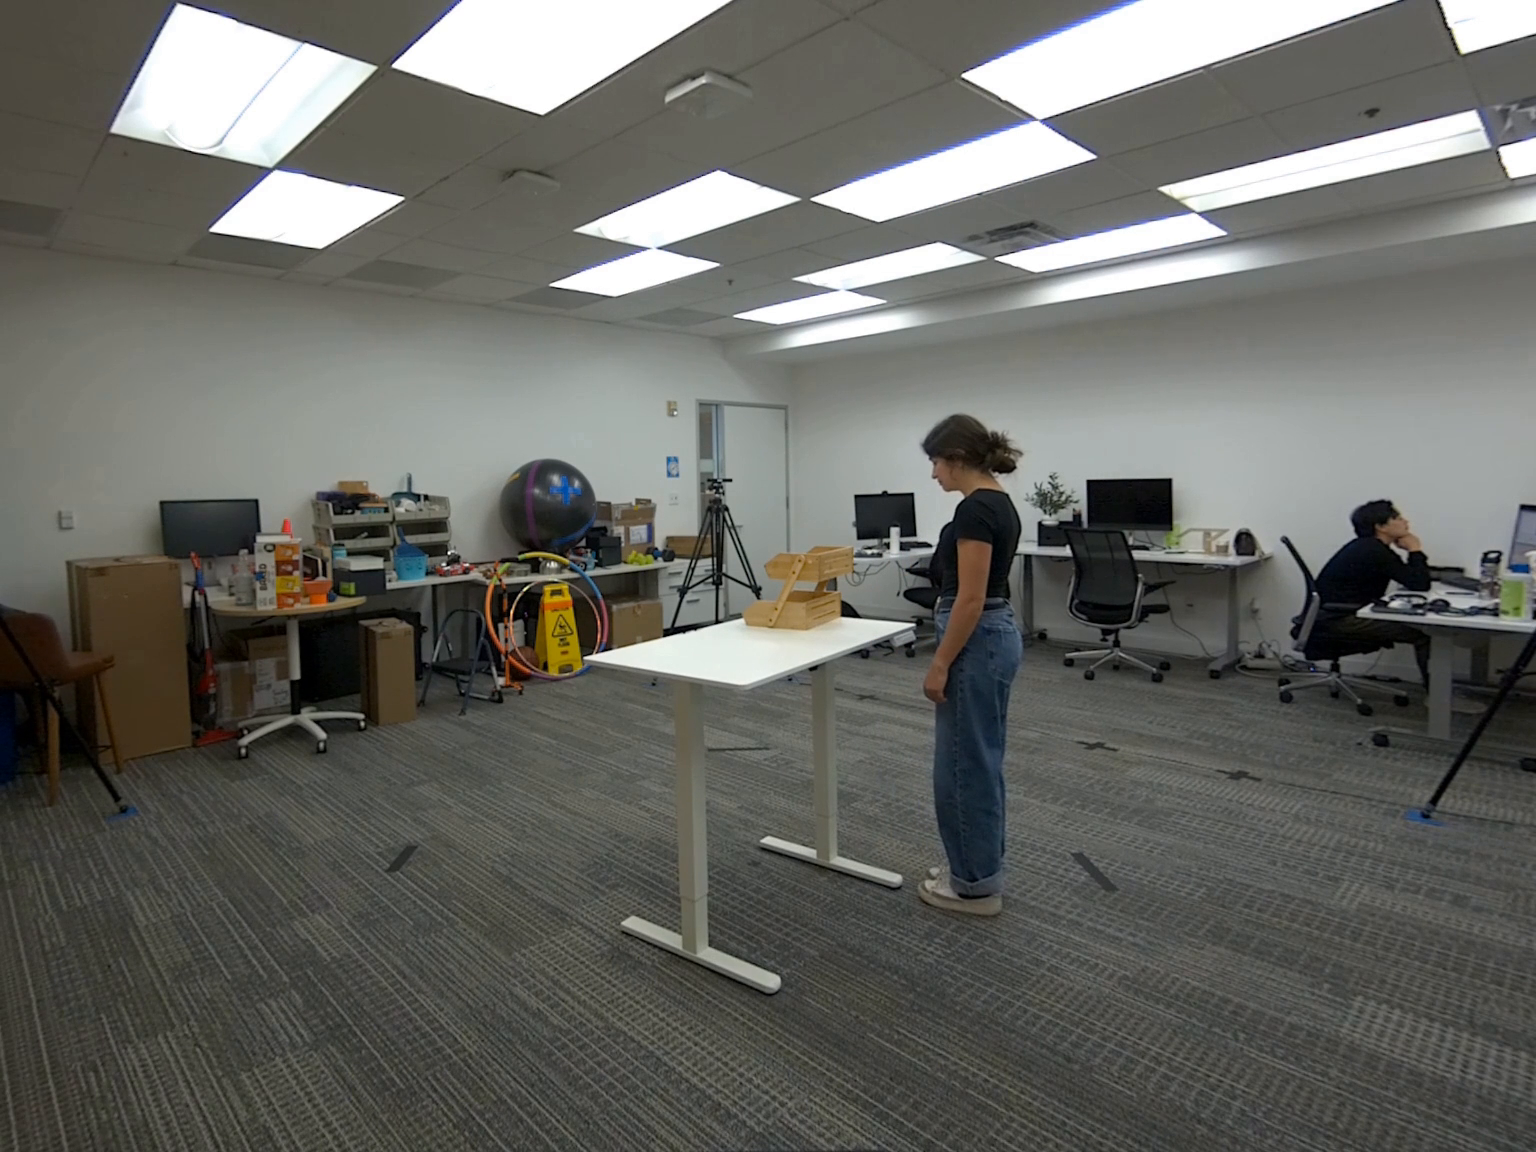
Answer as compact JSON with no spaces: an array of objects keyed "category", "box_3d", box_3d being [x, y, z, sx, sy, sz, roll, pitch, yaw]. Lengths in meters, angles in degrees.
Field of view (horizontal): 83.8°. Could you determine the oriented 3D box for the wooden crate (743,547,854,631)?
[{"category":"wooden crate","box_3d":[0.109,0.032,3.045,0.310,0.272,0.318,3,7,29]}]
